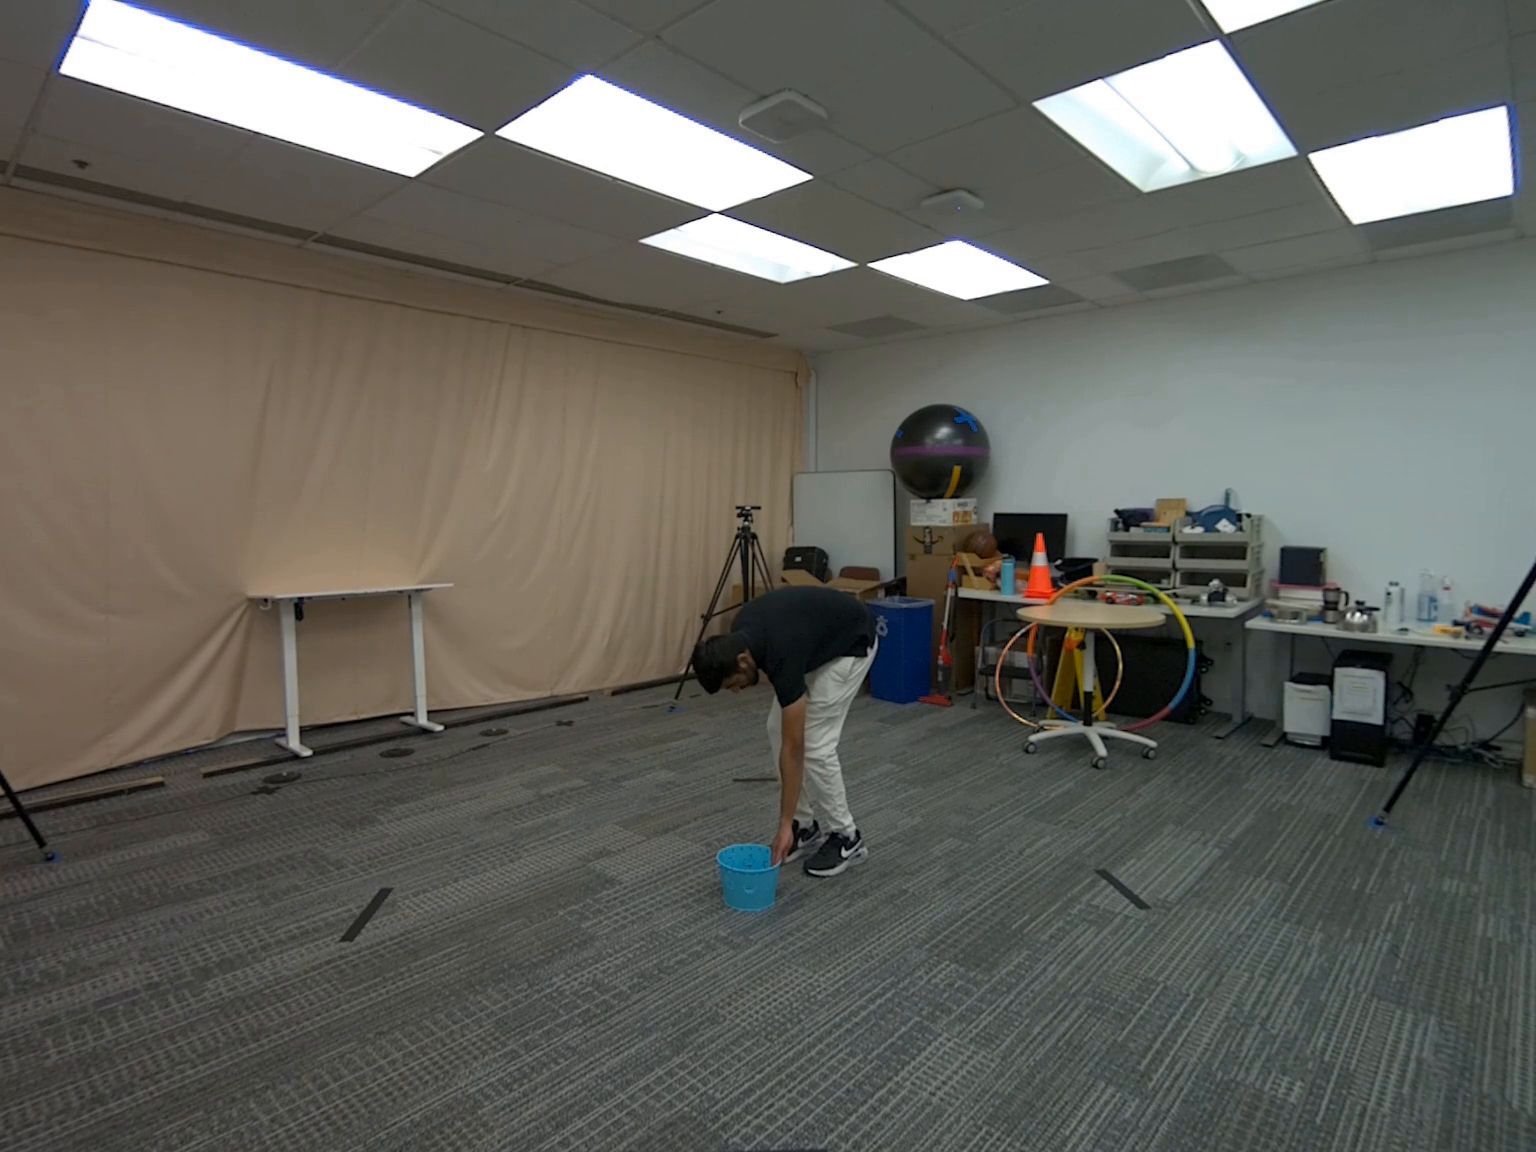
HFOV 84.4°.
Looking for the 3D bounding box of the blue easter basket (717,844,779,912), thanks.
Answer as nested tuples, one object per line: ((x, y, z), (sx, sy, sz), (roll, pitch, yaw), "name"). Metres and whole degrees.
((-0.061, 1.066, 2.981), (0.243, 0.155, 0.244), (1, 4, -2), "blue easter basket")
